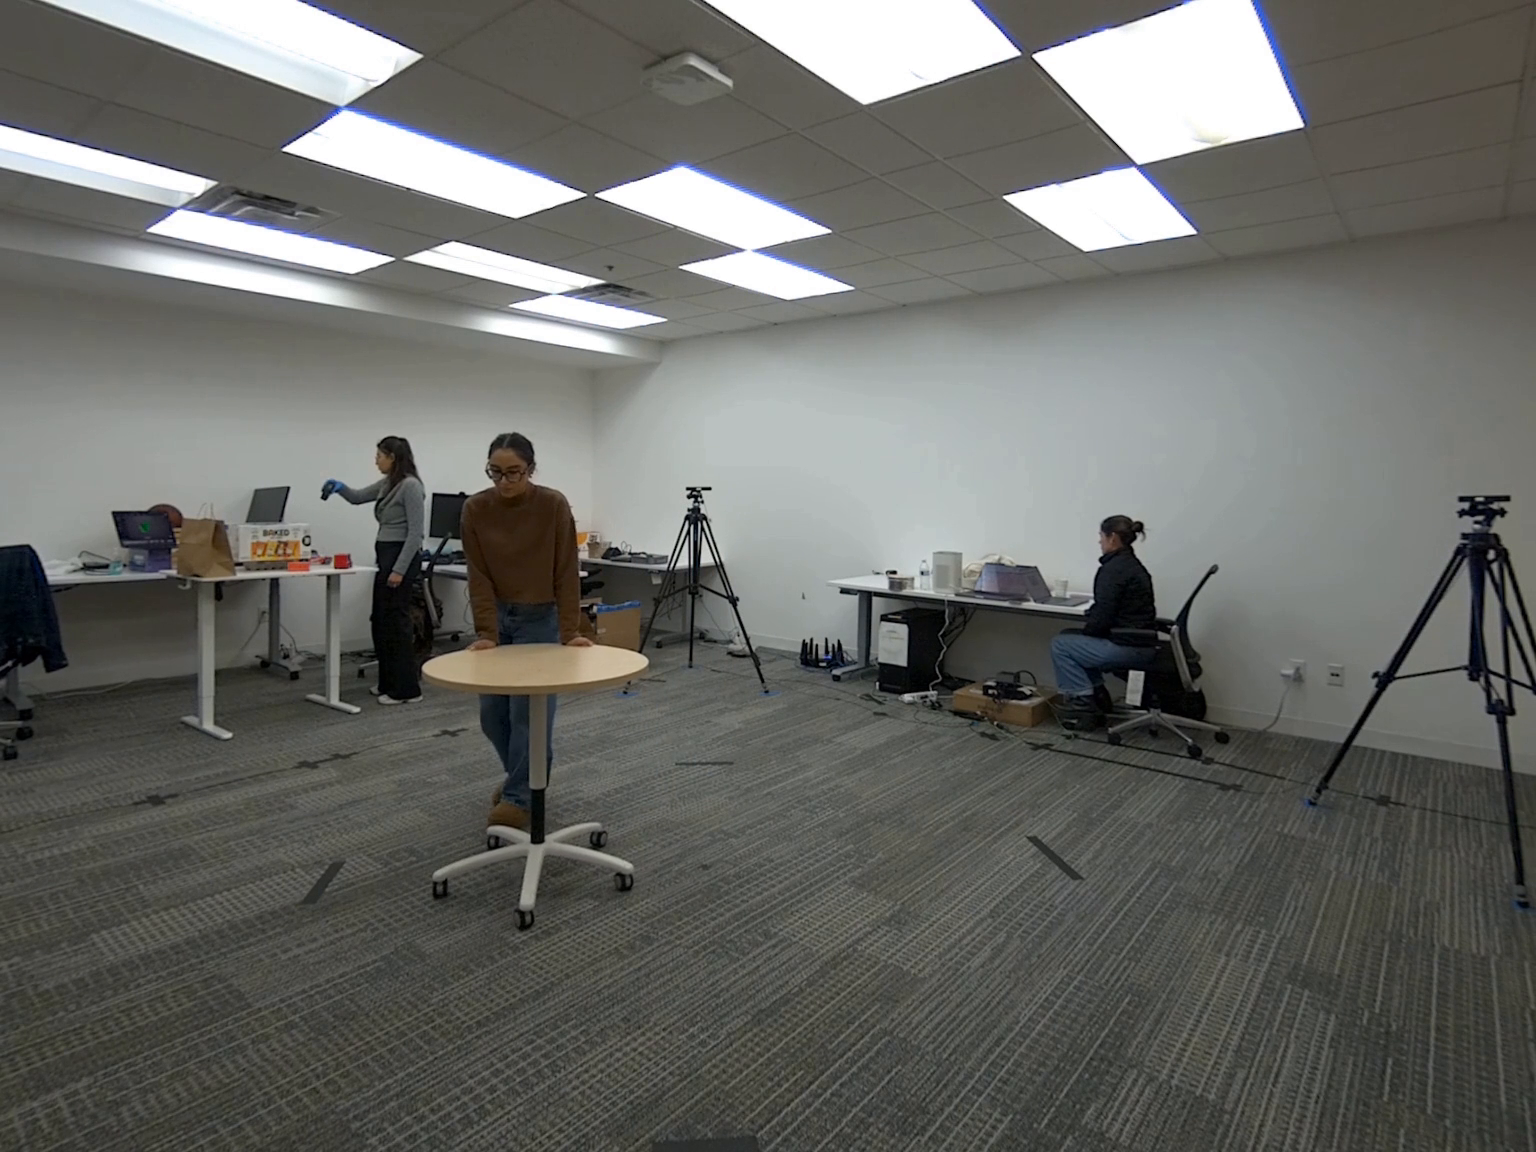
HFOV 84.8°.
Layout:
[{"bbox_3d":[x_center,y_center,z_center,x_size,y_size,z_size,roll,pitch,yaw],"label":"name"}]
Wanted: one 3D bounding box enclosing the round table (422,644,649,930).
[{"bbox_3d":[-0.815,0.688,2.974,0.763,0.791,0.768,1,4,-2],"label":"round table"}]
